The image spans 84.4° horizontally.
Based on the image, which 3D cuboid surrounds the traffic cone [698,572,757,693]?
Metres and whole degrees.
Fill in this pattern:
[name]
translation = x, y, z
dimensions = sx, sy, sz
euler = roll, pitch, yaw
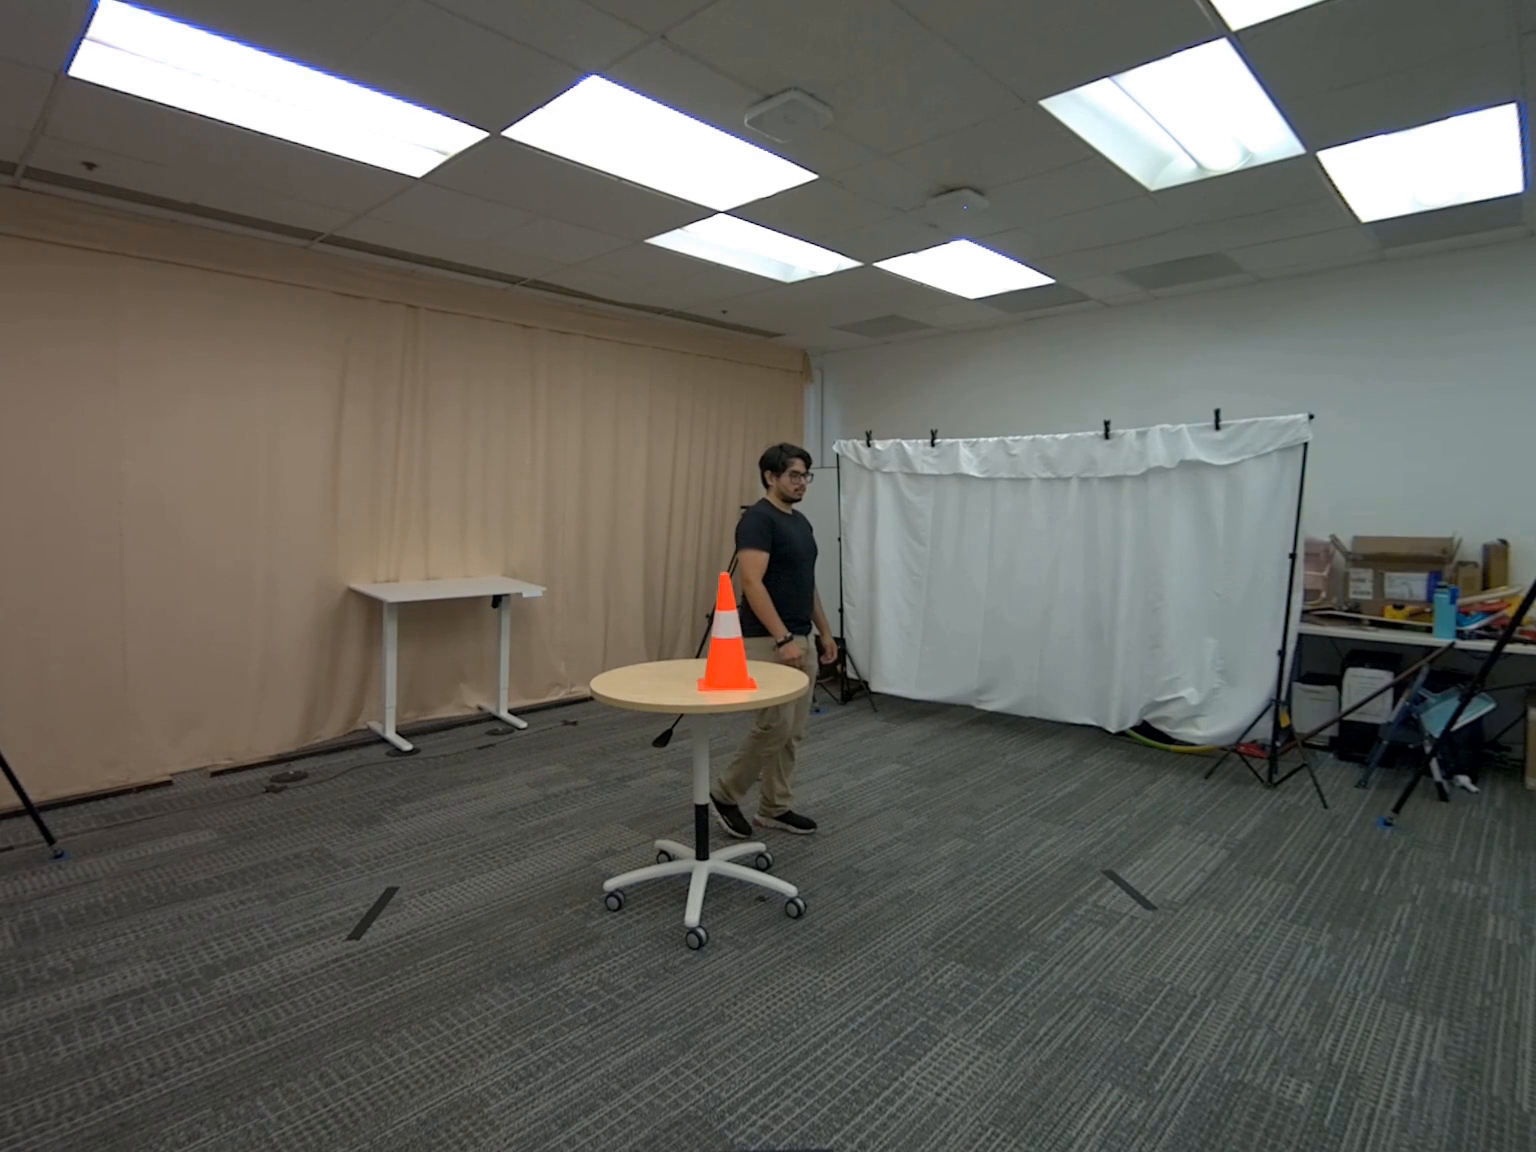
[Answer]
[traffic cone]
translation = -0.145, 0.186, 2.856
dimensions = 0.204, 0.383, 0.204
euler = -2, 3, -4
